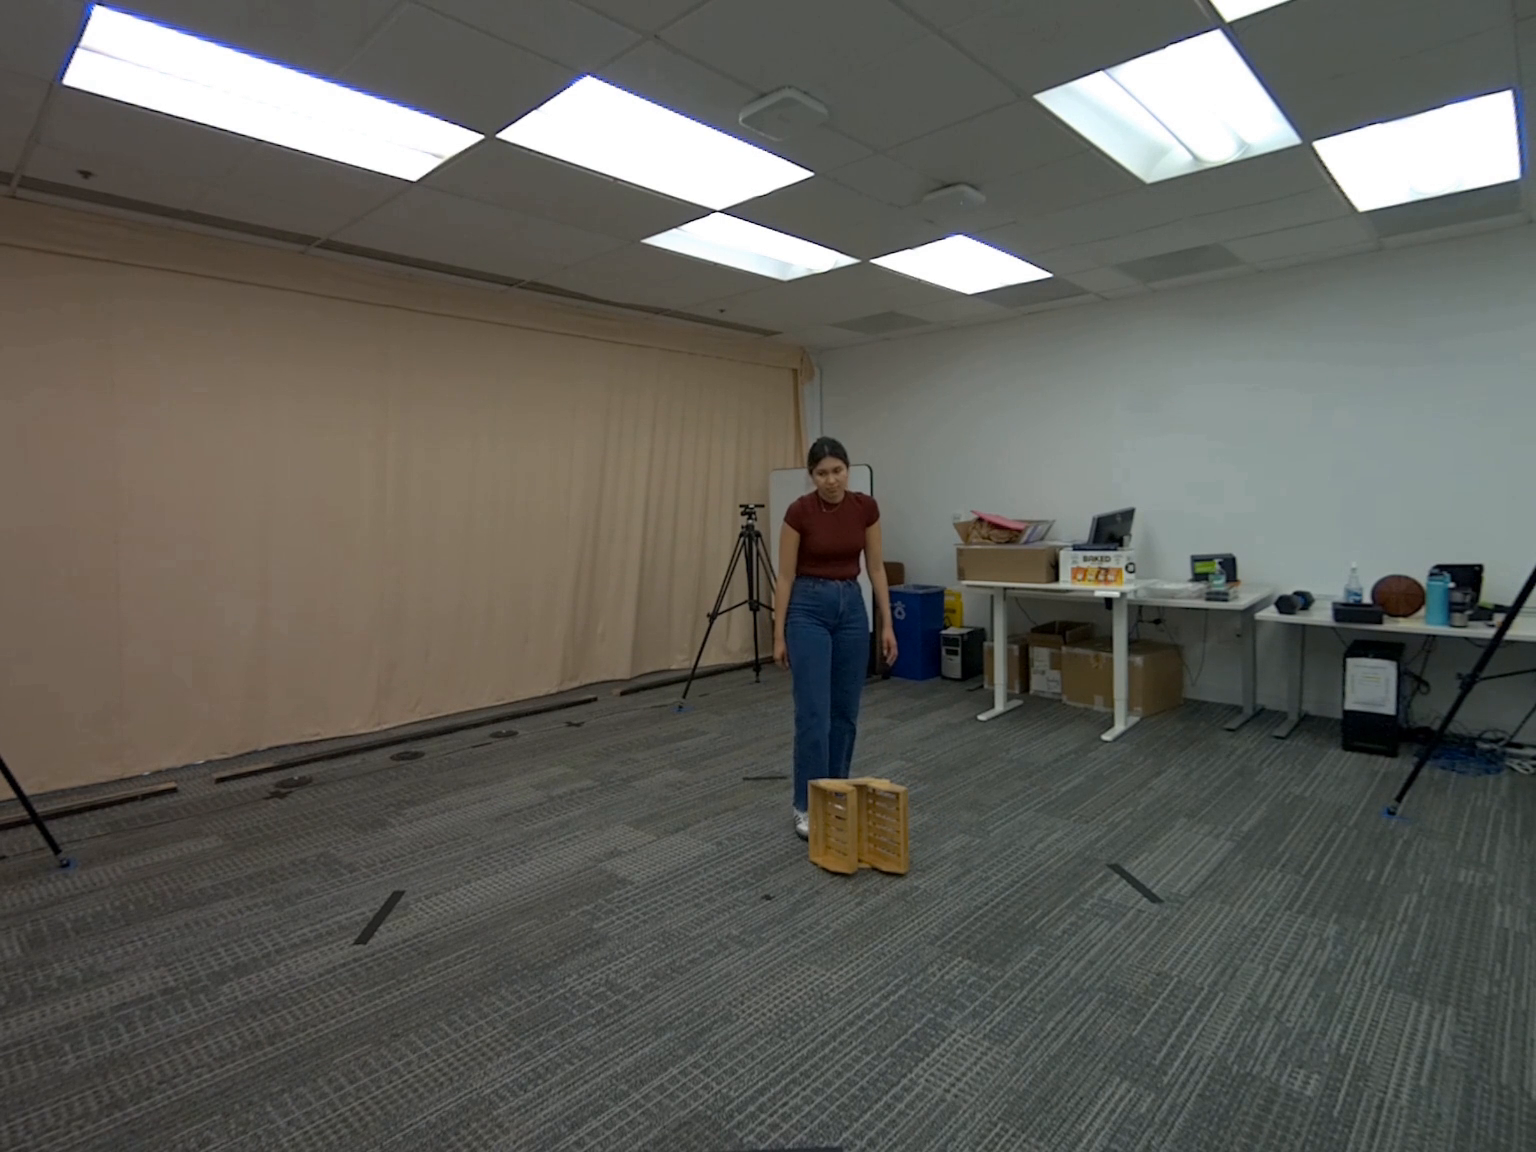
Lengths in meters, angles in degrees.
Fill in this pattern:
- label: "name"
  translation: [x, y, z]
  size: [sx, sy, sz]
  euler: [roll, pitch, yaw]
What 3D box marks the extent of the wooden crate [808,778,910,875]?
- label: "wooden crate"
  translation: [0.341, 0.943, 3.203]
  size: [0.266, 0.325, 0.310]
  euler: [1, -3, -29]
